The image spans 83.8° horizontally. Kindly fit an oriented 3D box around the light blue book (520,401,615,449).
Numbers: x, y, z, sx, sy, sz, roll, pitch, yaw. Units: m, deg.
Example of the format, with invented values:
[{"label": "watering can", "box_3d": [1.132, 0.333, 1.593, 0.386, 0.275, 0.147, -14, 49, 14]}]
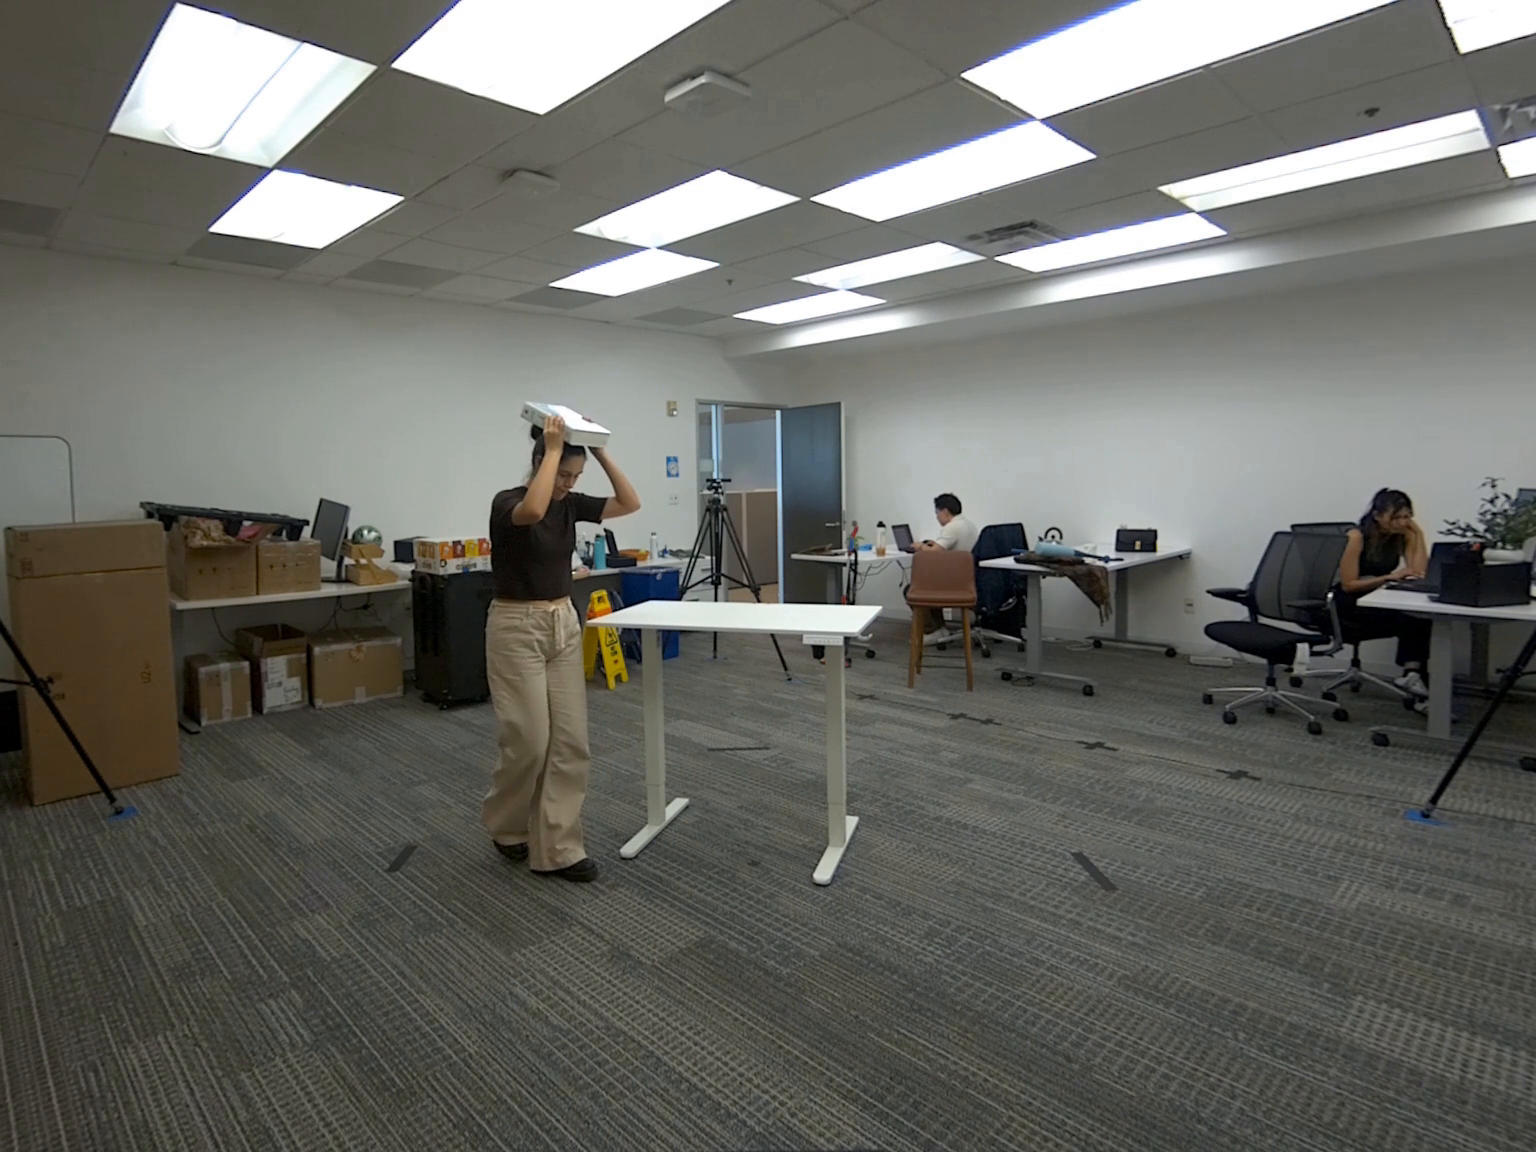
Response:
[{"label": "light blue book", "box_3d": [-0.699, -0.526, 2.980, 0.270, 0.058, 0.186, 29, 18, 28]}]
